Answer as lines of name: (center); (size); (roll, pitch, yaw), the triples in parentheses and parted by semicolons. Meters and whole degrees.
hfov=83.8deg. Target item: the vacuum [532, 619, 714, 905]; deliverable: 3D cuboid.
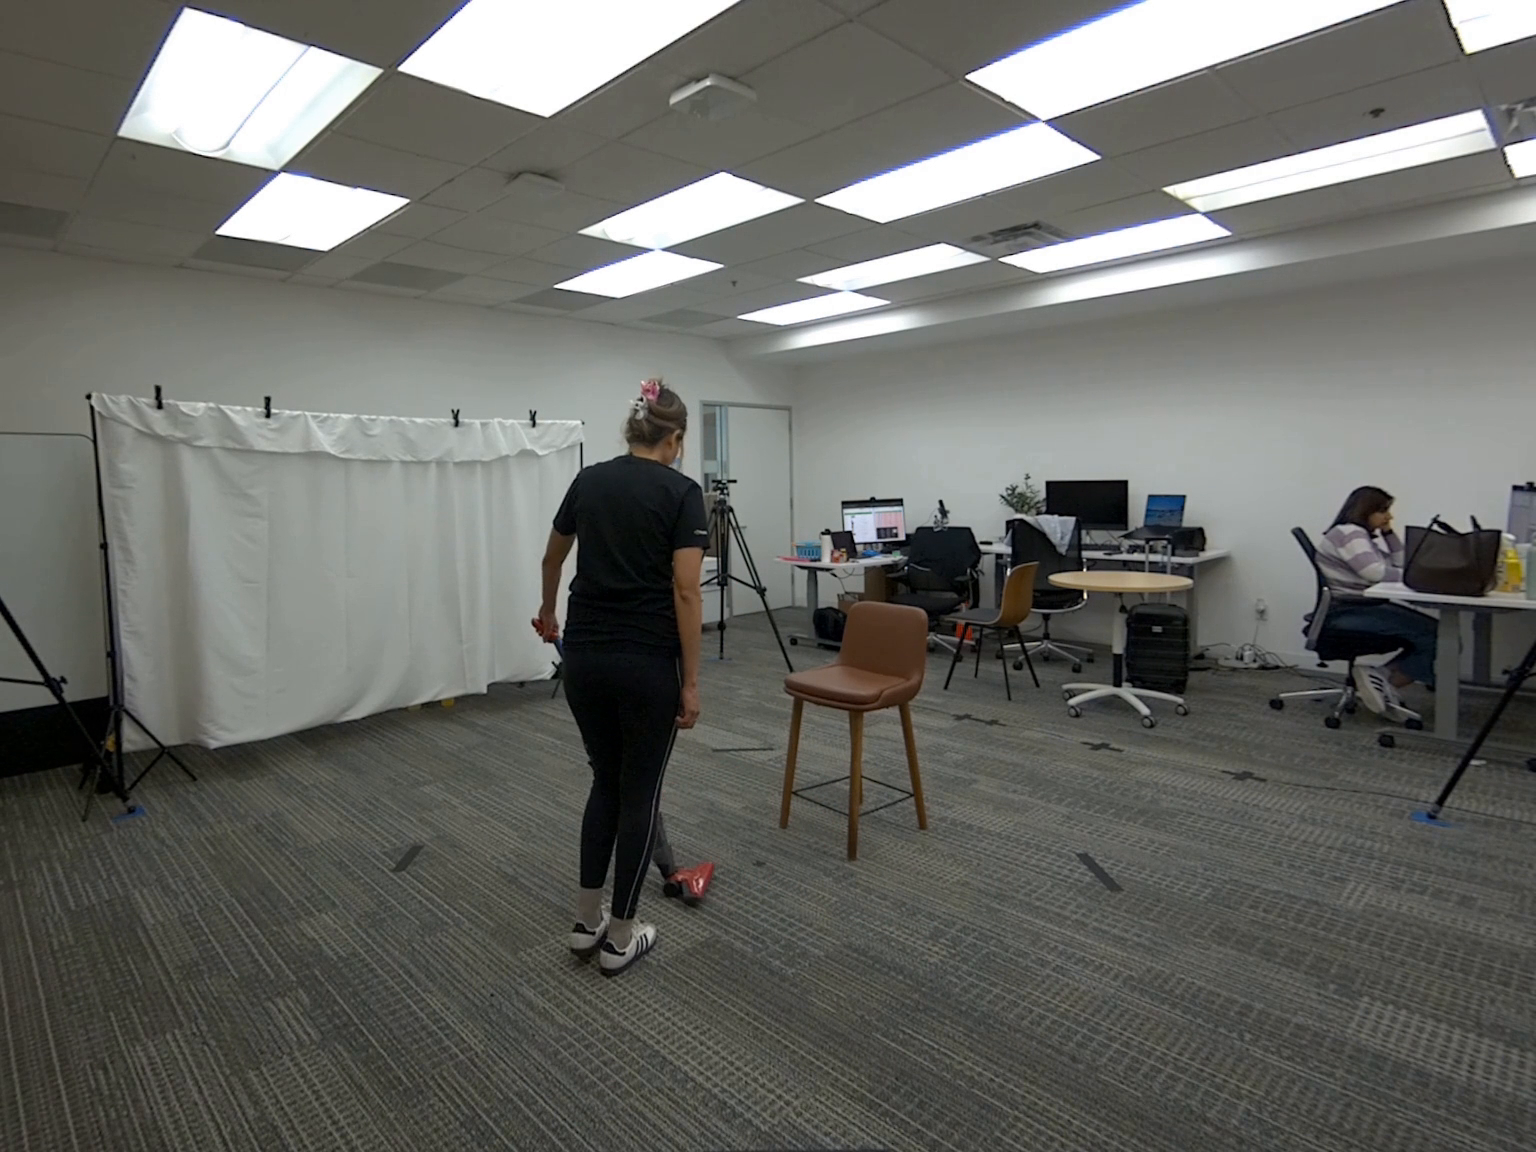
vacuum: (-0.534, 0.617, 2.948); (0.144, 1.054, 0.250); (-33, -3, 12)
